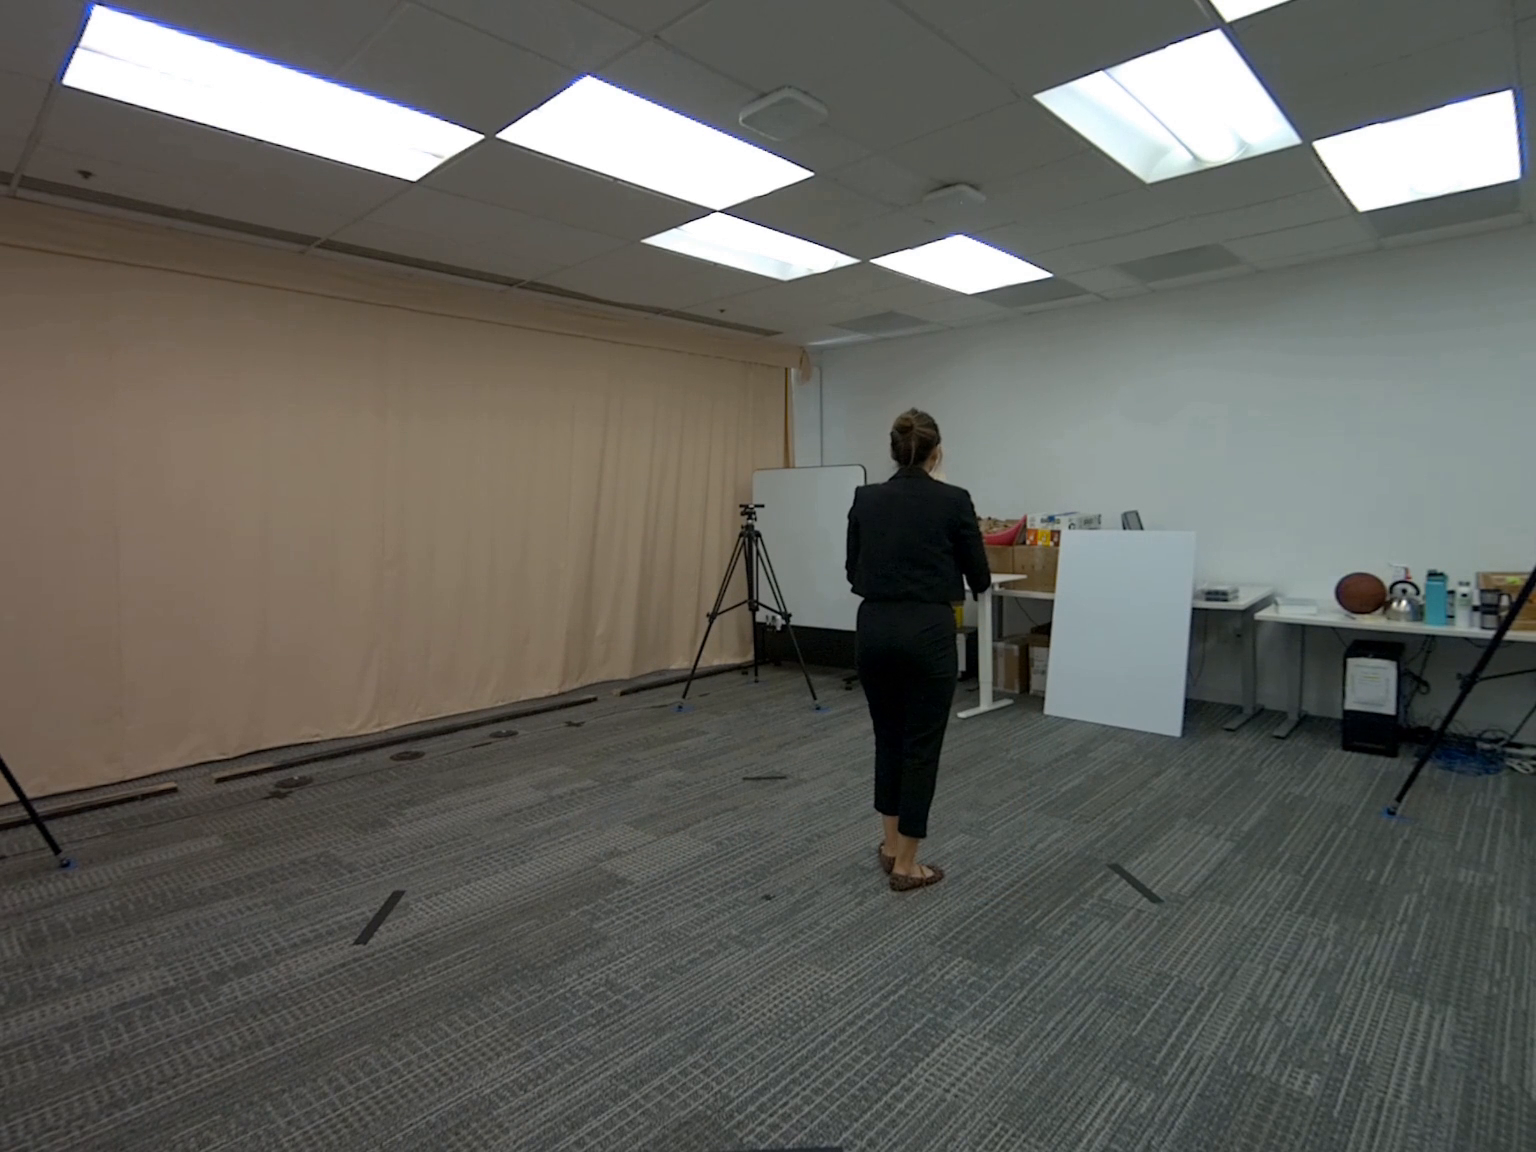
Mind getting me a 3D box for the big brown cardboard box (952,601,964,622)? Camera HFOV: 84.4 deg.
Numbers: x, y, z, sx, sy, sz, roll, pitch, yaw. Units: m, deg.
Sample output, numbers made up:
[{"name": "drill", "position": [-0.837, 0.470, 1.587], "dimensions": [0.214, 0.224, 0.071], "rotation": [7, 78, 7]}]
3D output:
[{"name": "big brown cardboard box", "position": [0.672, -0.158, 3.521], "dimensions": [0.236, 0.412, 0.590], "rotation": [-7, 18, 10]}]
